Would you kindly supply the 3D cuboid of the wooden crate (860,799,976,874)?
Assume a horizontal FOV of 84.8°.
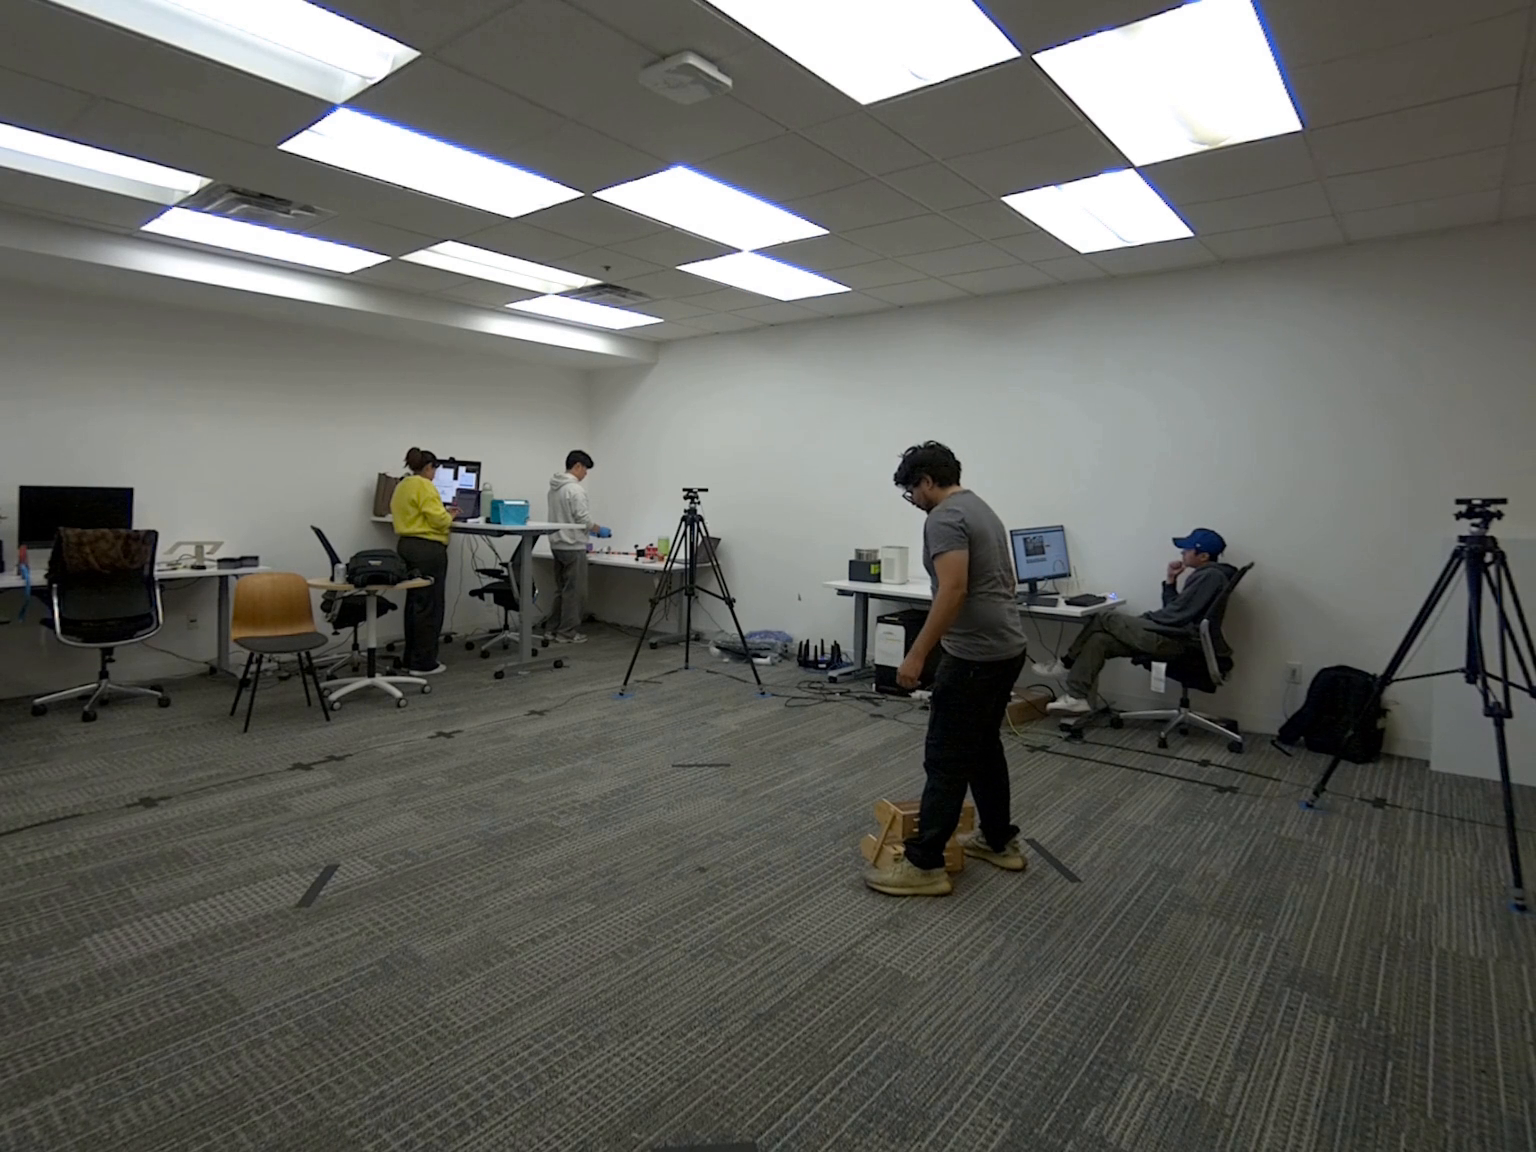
[{"bbox_3d":[0.549,0.943,3.203,0.318,0.272,0.309,0,5,-21],"label":"wooden crate"}]
